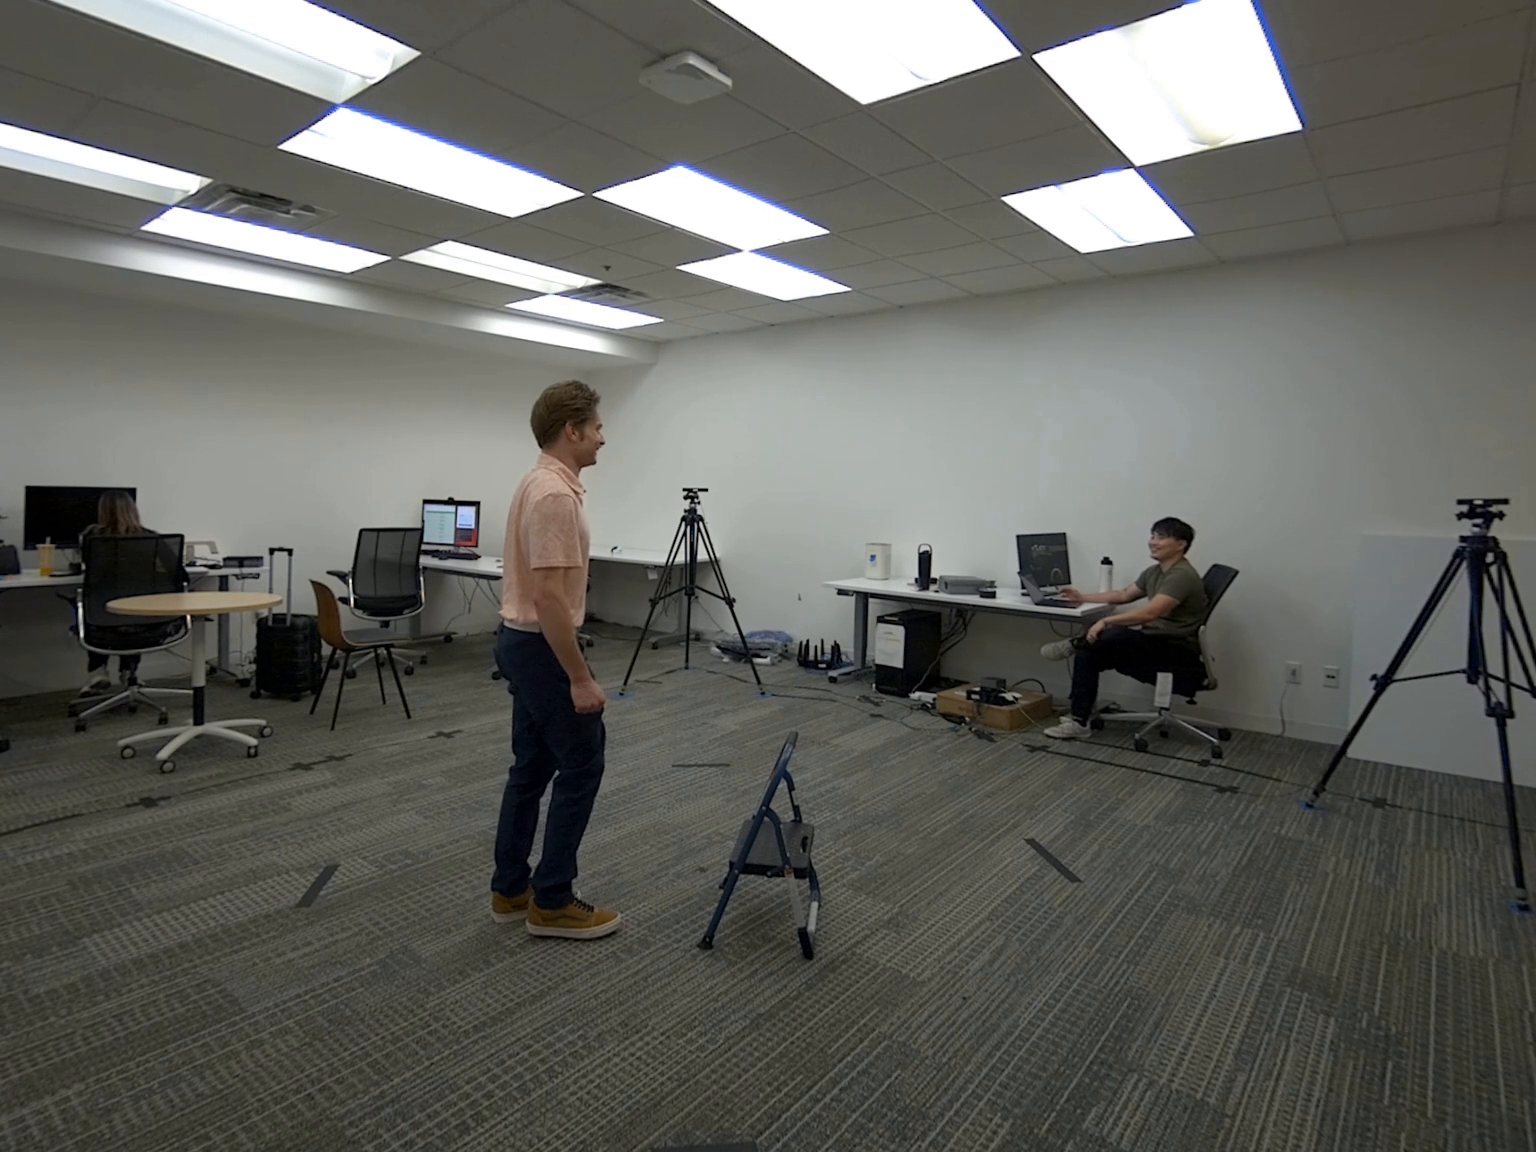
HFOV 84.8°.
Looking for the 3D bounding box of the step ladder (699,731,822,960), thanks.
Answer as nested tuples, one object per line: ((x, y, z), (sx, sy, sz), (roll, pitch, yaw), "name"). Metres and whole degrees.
((-0.014, 0.810, 2.729), (0.353, 0.604, 0.428), (2, 4, 8), "step ladder")
